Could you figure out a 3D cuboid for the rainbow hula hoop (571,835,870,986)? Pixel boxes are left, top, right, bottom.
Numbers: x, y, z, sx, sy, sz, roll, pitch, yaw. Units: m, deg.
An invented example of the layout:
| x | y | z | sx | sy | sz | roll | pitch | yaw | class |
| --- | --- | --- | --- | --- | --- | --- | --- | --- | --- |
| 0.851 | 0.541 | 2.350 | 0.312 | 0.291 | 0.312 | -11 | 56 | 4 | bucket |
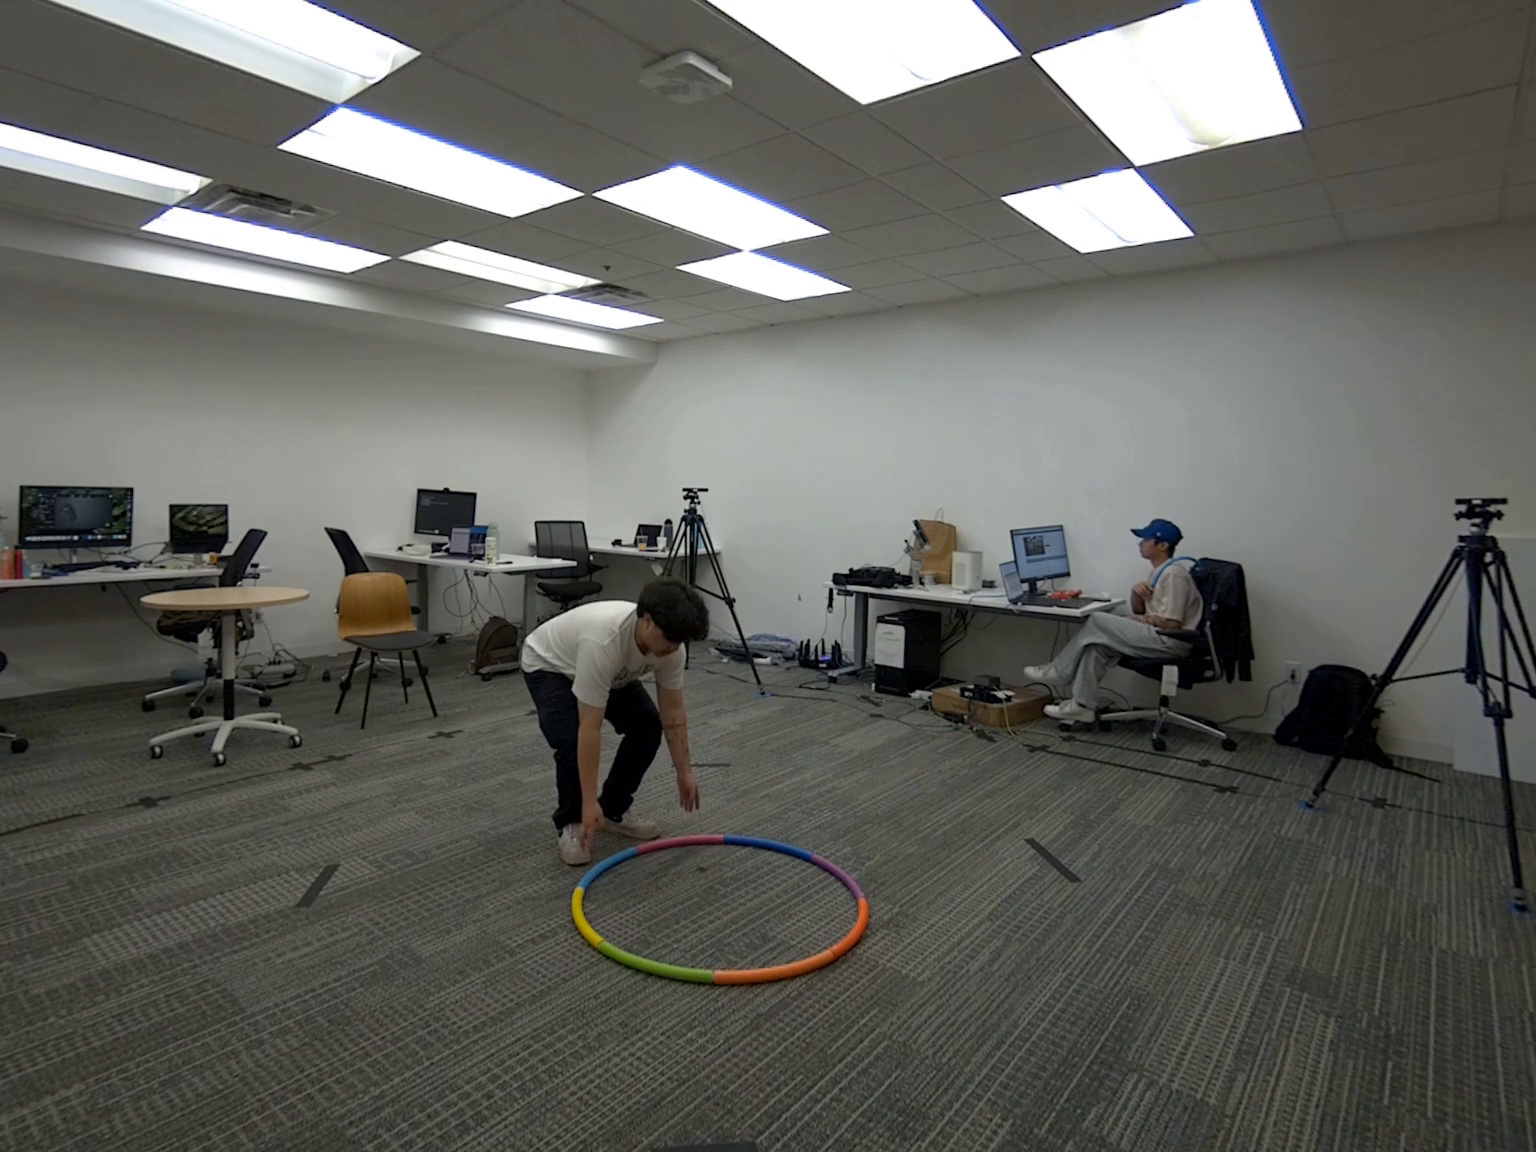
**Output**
| x | y | z | sx | sy | sz | roll | pitch | yaw | class |
| --- | --- | --- | --- | --- | --- | --- | --- | --- | --- |
| -0.173 | 1.068 | 2.861 | 0.984 | 0.051 | 0.990 | 0 | 5 | -2 | rainbow hula hoop |
